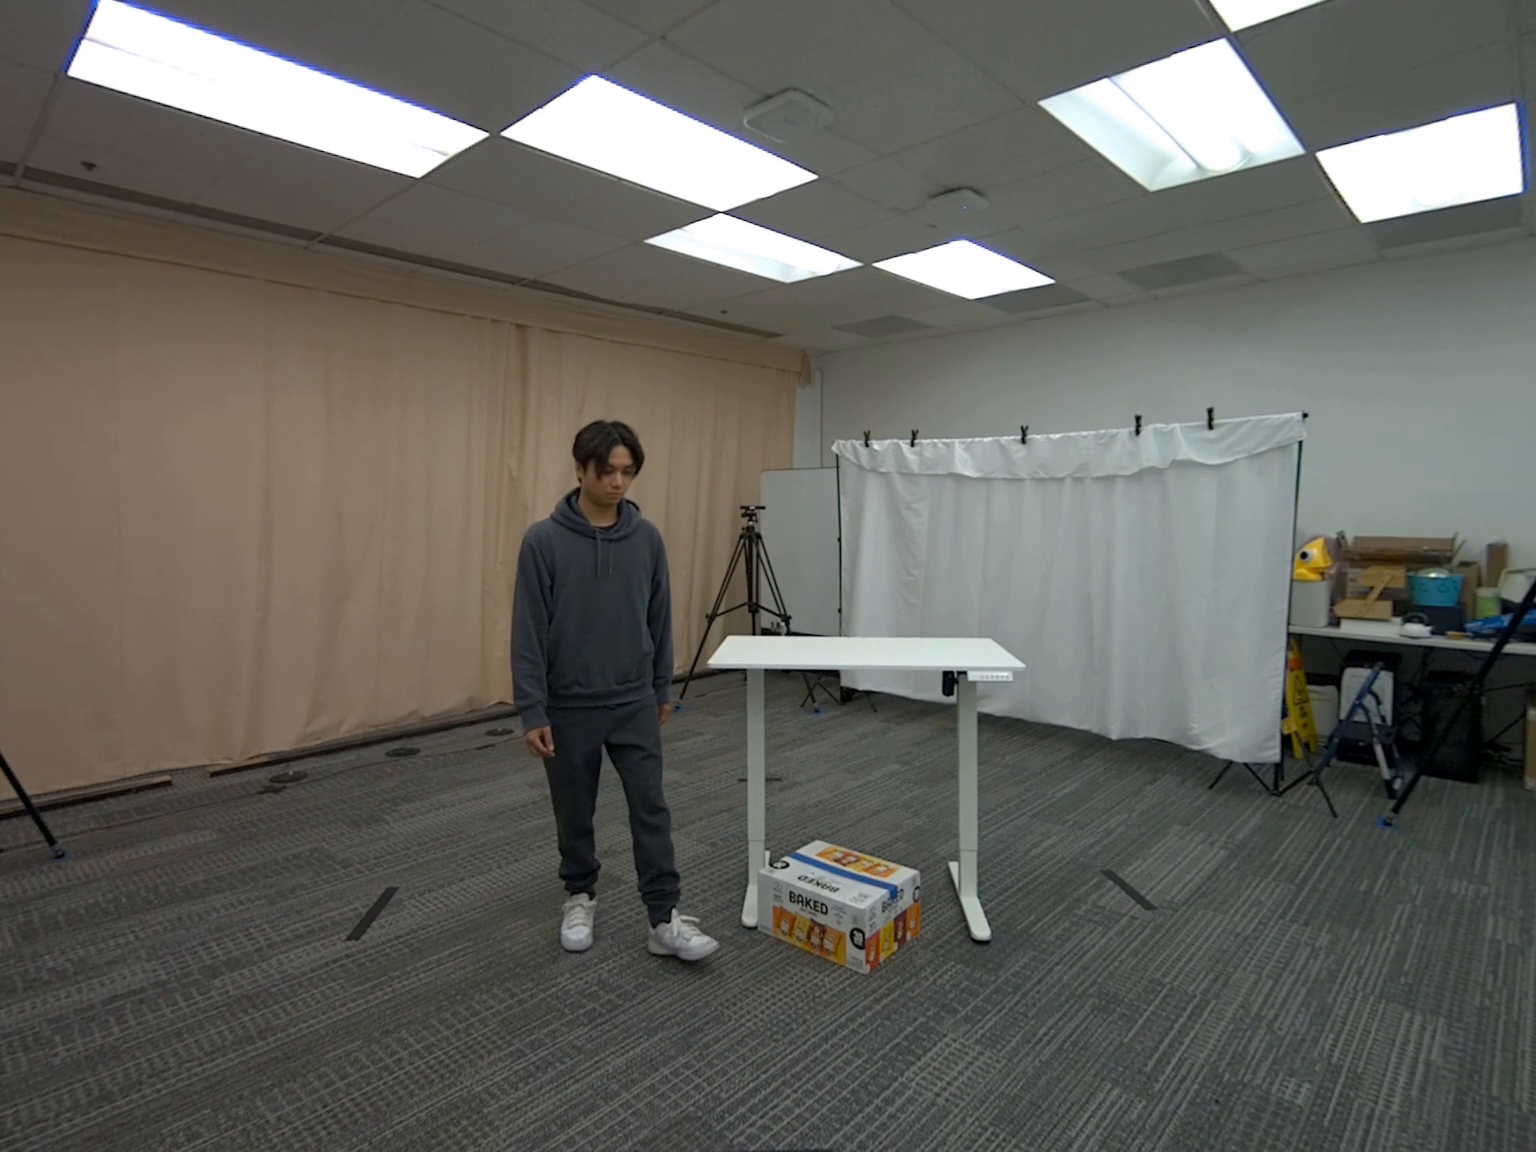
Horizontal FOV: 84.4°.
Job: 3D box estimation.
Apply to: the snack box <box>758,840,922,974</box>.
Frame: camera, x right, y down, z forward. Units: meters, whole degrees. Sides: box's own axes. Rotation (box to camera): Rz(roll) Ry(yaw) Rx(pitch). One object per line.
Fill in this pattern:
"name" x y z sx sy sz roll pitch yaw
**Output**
"snack box" 0.232 1.062 2.740 0.418 0.205 0.330 3 6 39
